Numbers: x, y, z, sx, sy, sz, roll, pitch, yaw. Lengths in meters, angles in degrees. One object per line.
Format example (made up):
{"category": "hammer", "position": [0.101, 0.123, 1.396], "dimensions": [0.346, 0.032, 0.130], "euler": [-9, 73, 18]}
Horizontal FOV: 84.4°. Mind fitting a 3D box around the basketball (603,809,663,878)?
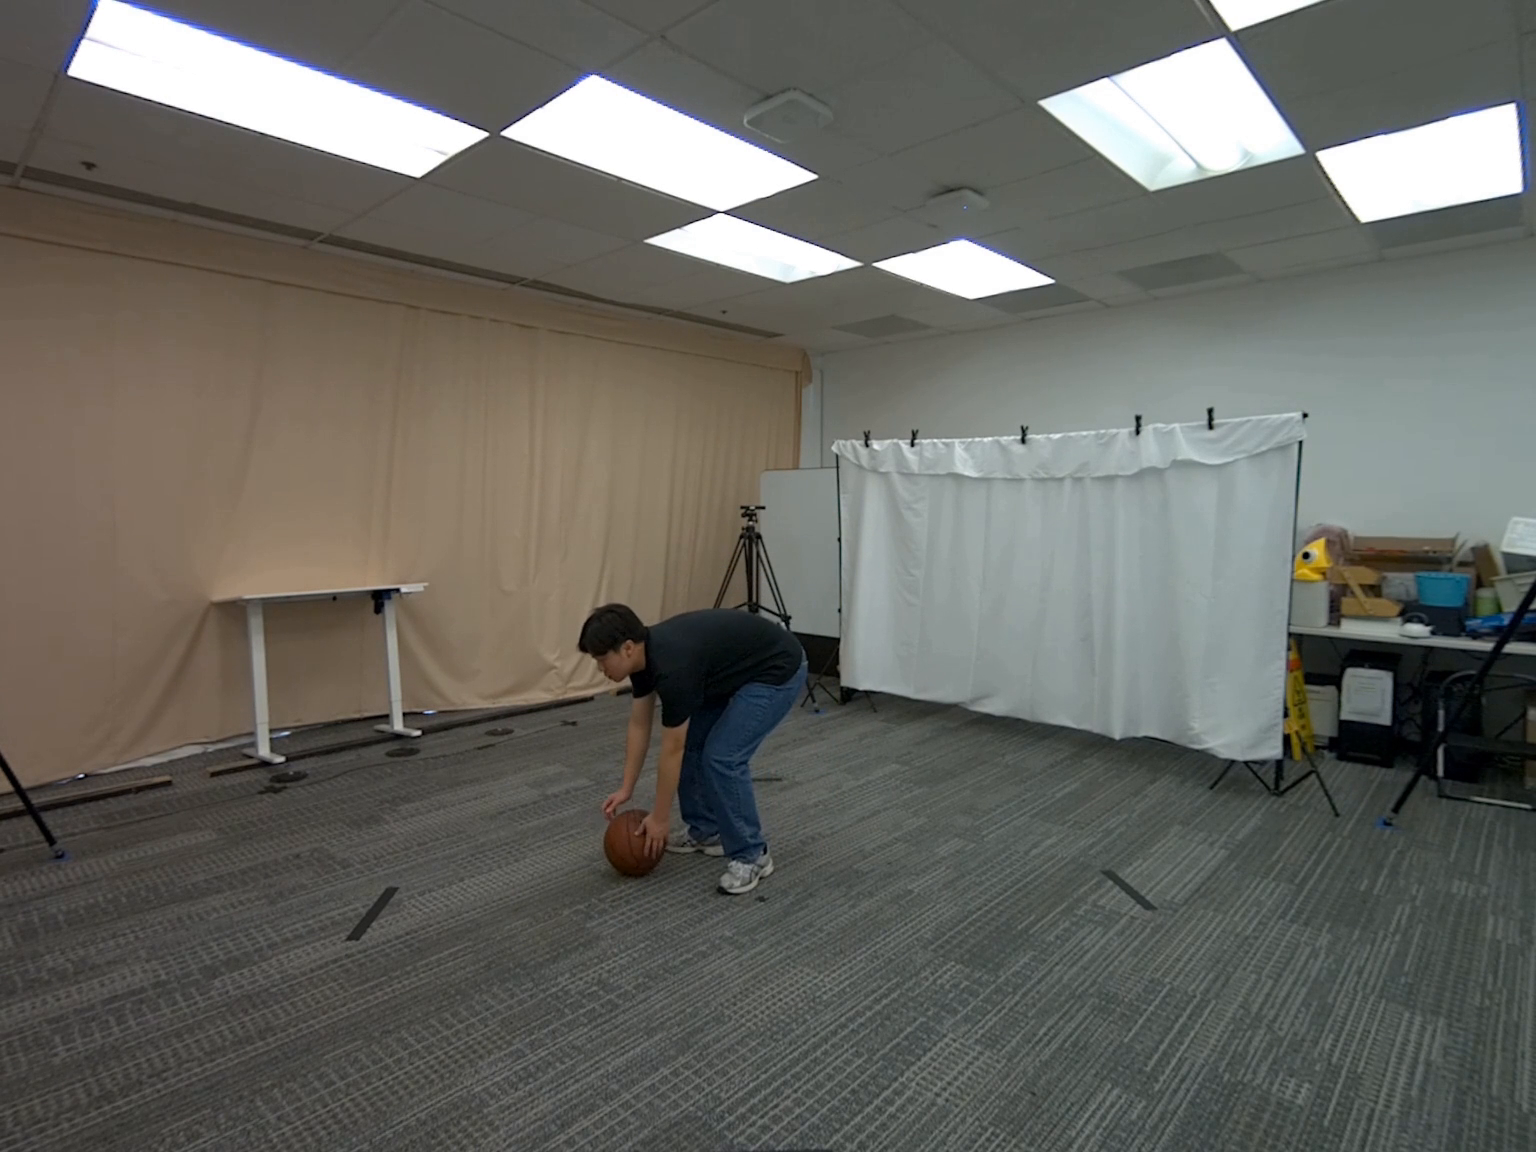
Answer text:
{"category": "basketball", "position": [-0.518, 1.013, 3.210], "dimensions": [0.236, 0.235, 0.237], "euler": [0, 4, -2]}
